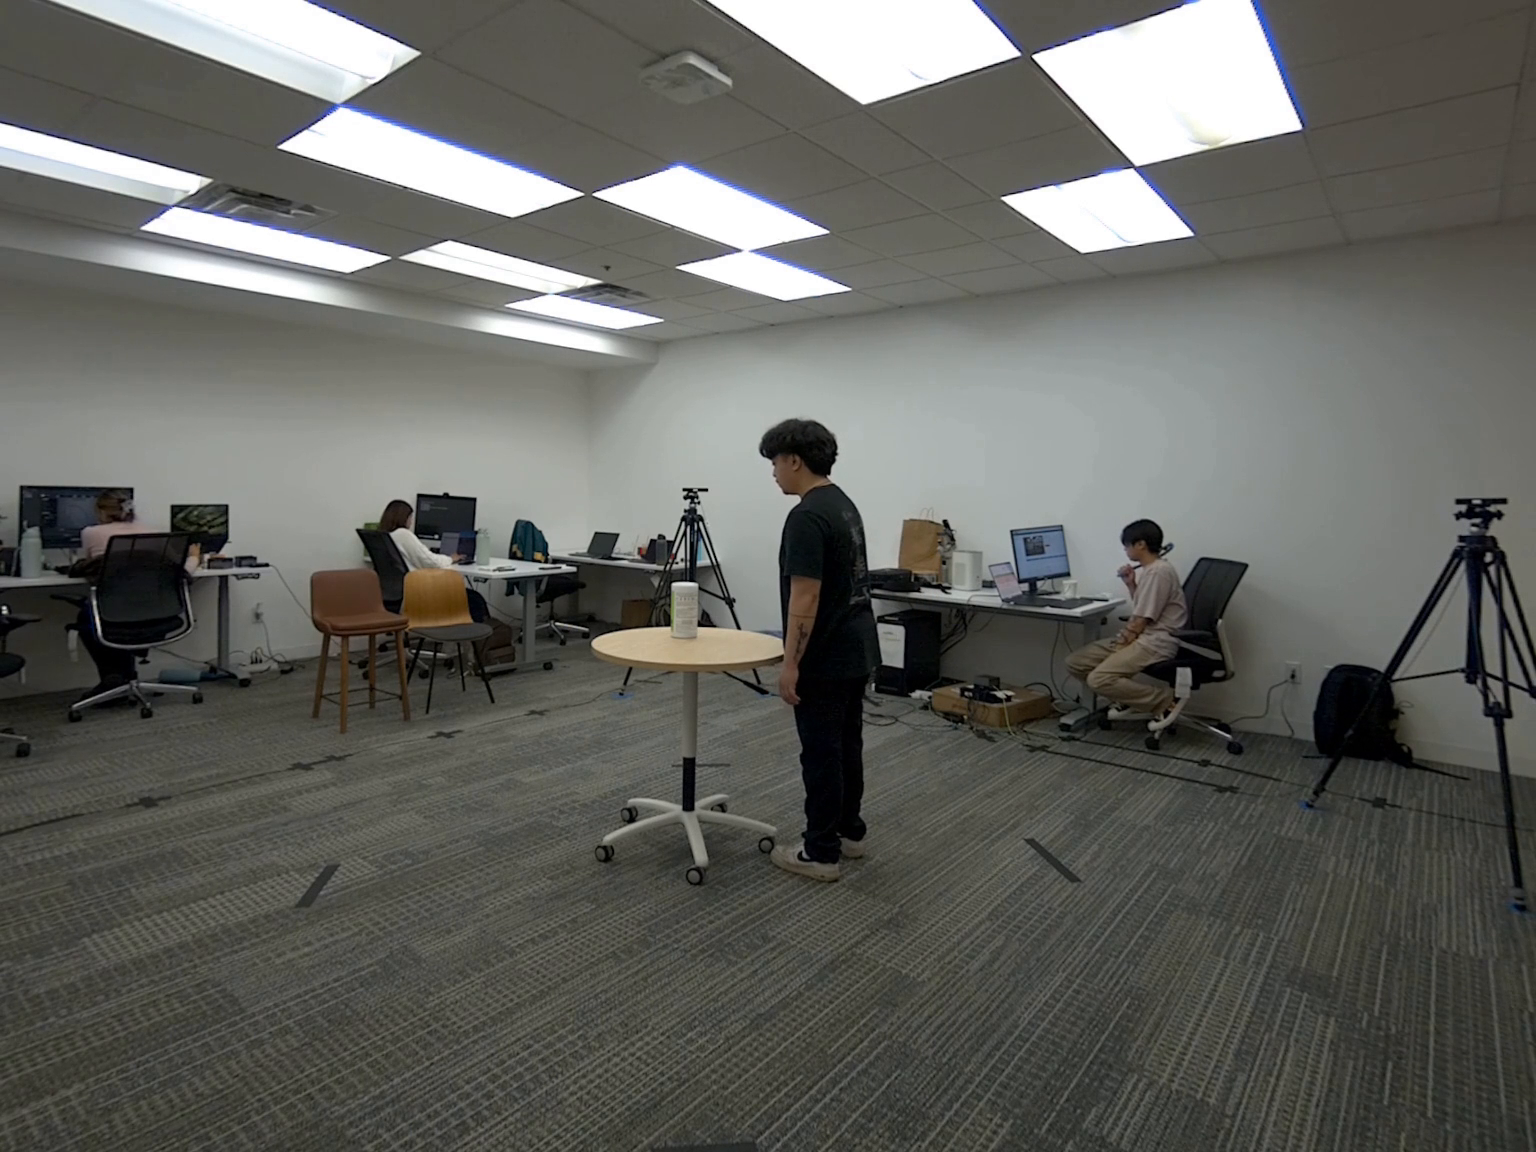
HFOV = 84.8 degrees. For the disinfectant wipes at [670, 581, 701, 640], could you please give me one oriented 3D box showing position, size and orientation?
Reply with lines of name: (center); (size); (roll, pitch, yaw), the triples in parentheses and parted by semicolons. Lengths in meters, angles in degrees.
disinfectant wipes: (-0.348, 0.134, 3.425); (0.118, 0.217, 0.118); (0, 3, -2)
